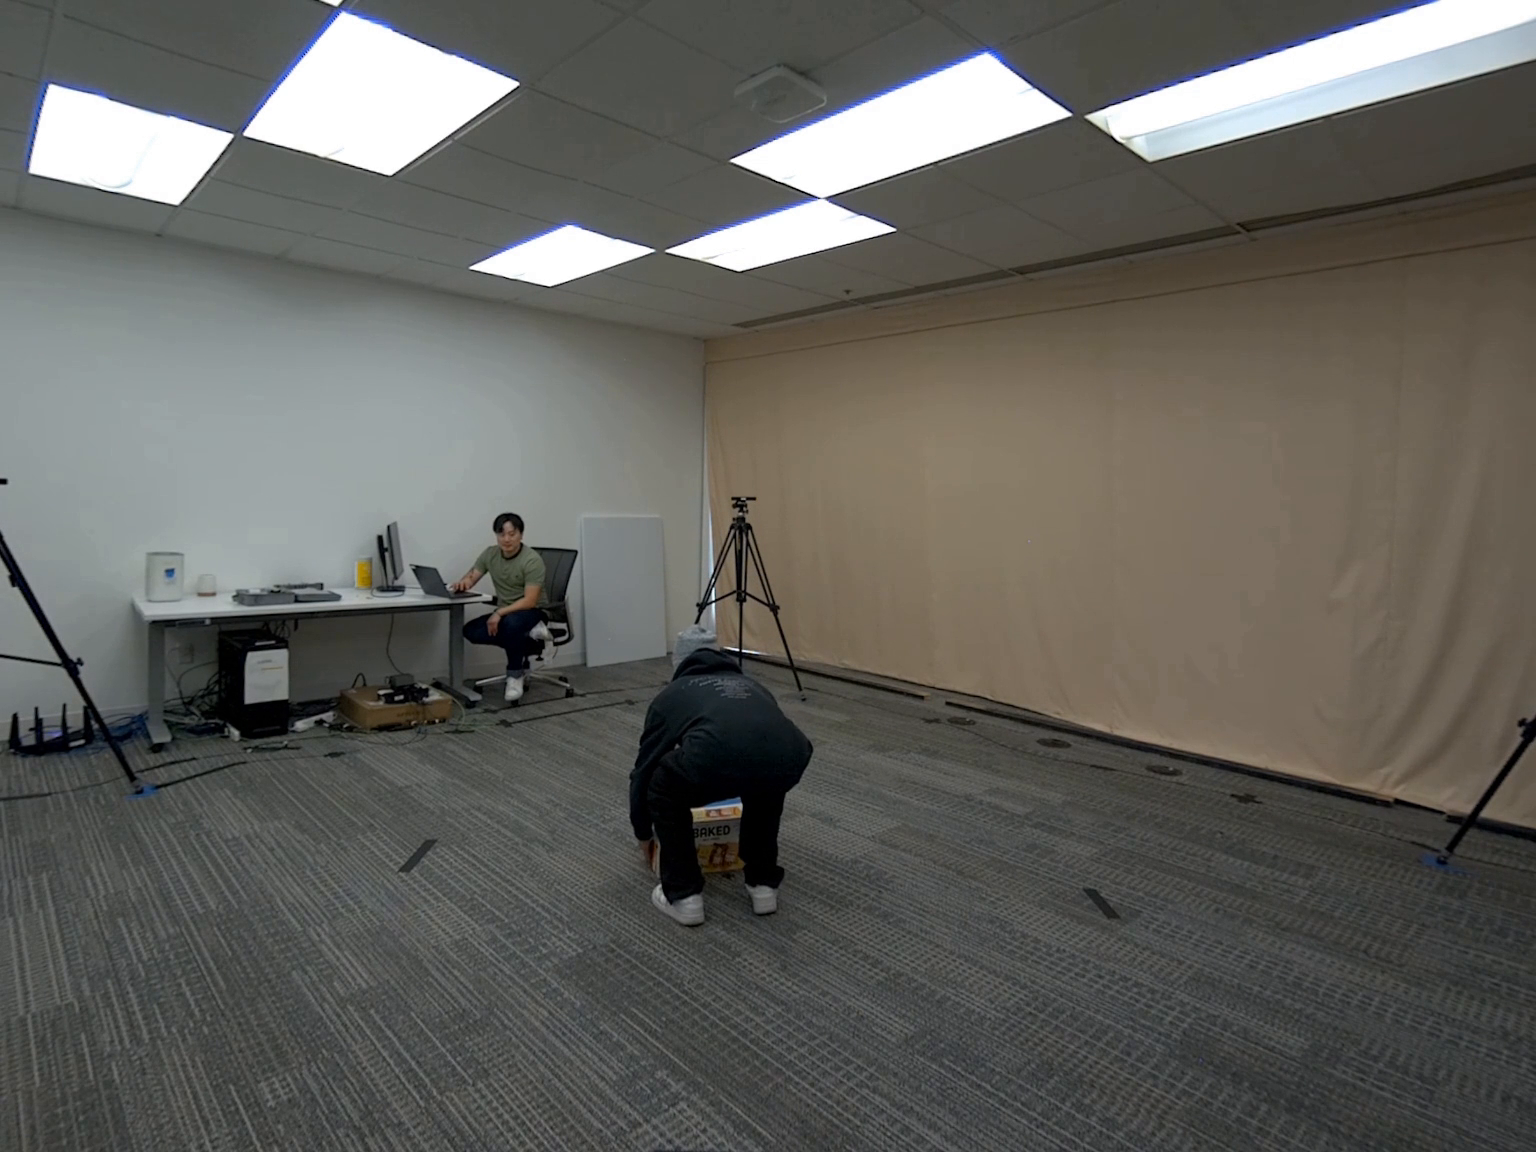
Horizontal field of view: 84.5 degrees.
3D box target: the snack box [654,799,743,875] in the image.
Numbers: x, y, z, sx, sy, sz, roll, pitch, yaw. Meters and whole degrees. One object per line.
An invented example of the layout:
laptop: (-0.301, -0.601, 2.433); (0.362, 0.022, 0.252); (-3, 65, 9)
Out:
snack box: (-0.270, 0.992, 3.277); (0.399, 0.205, 0.346); (0, 4, -18)
